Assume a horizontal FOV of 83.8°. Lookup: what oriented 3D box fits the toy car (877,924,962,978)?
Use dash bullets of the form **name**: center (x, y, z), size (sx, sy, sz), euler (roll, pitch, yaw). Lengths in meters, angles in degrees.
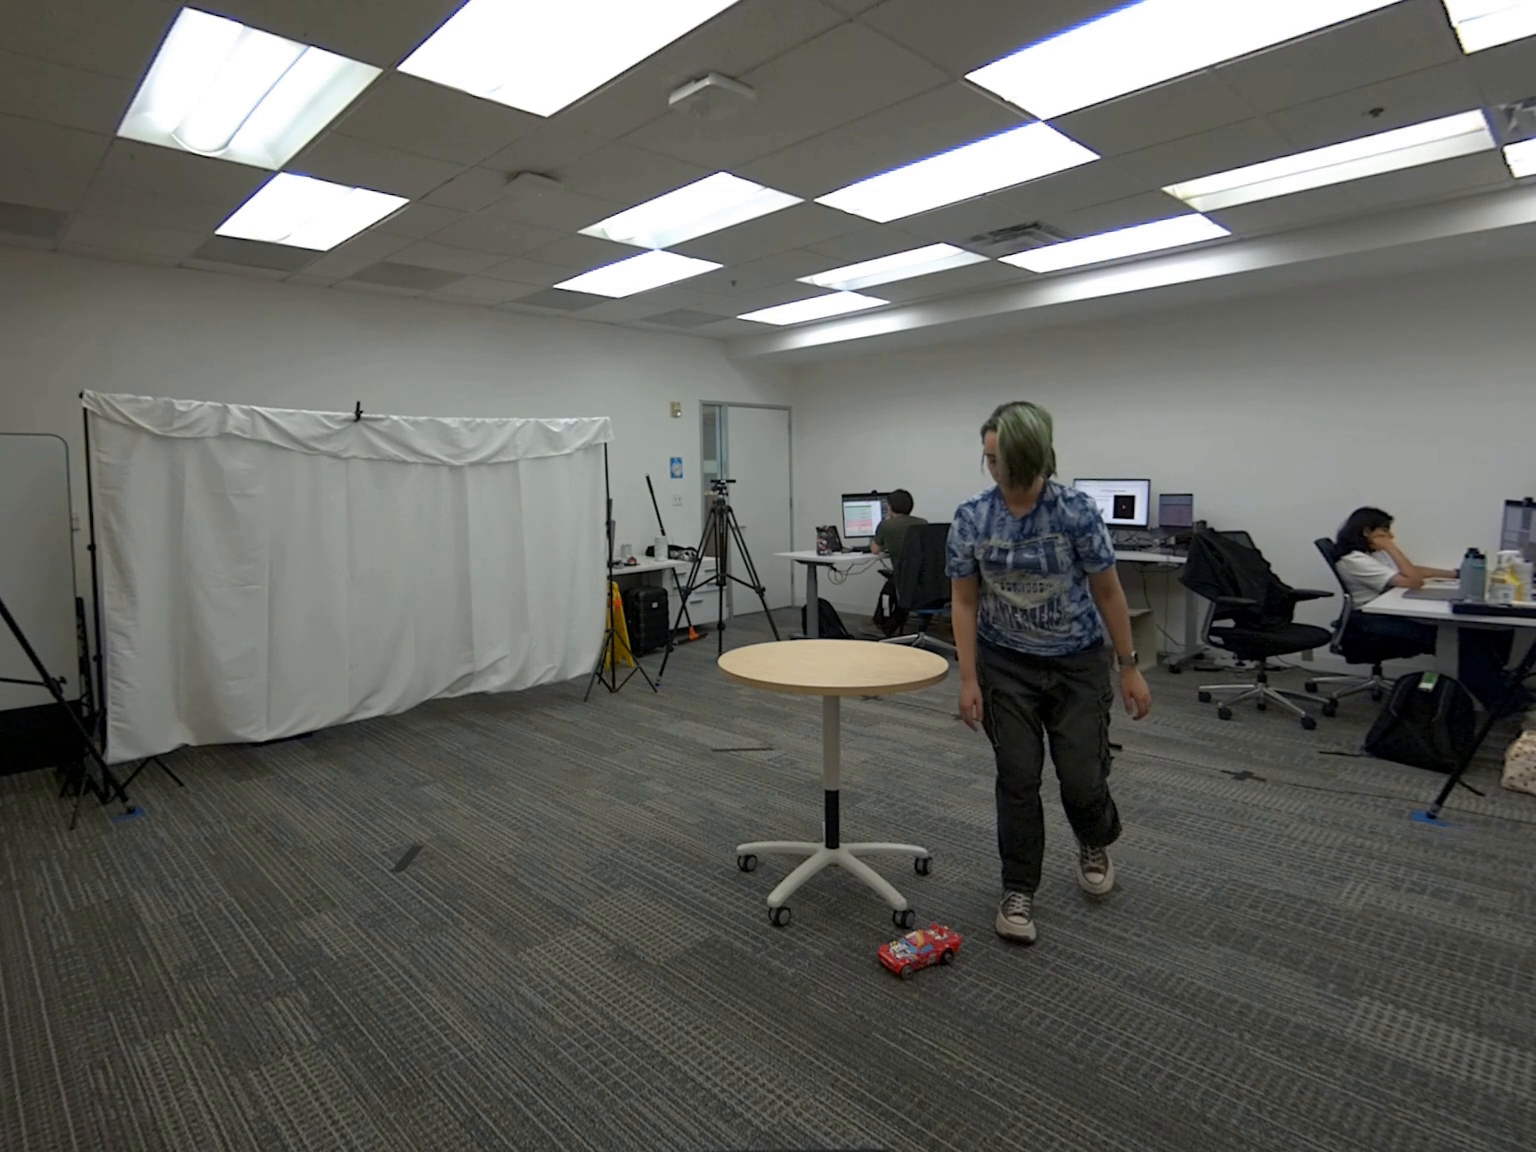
- **toy car**: center (0.448, 1.083, 2.458), size (0.250, 0.082, 0.134), euler (-17, 13, -26)
